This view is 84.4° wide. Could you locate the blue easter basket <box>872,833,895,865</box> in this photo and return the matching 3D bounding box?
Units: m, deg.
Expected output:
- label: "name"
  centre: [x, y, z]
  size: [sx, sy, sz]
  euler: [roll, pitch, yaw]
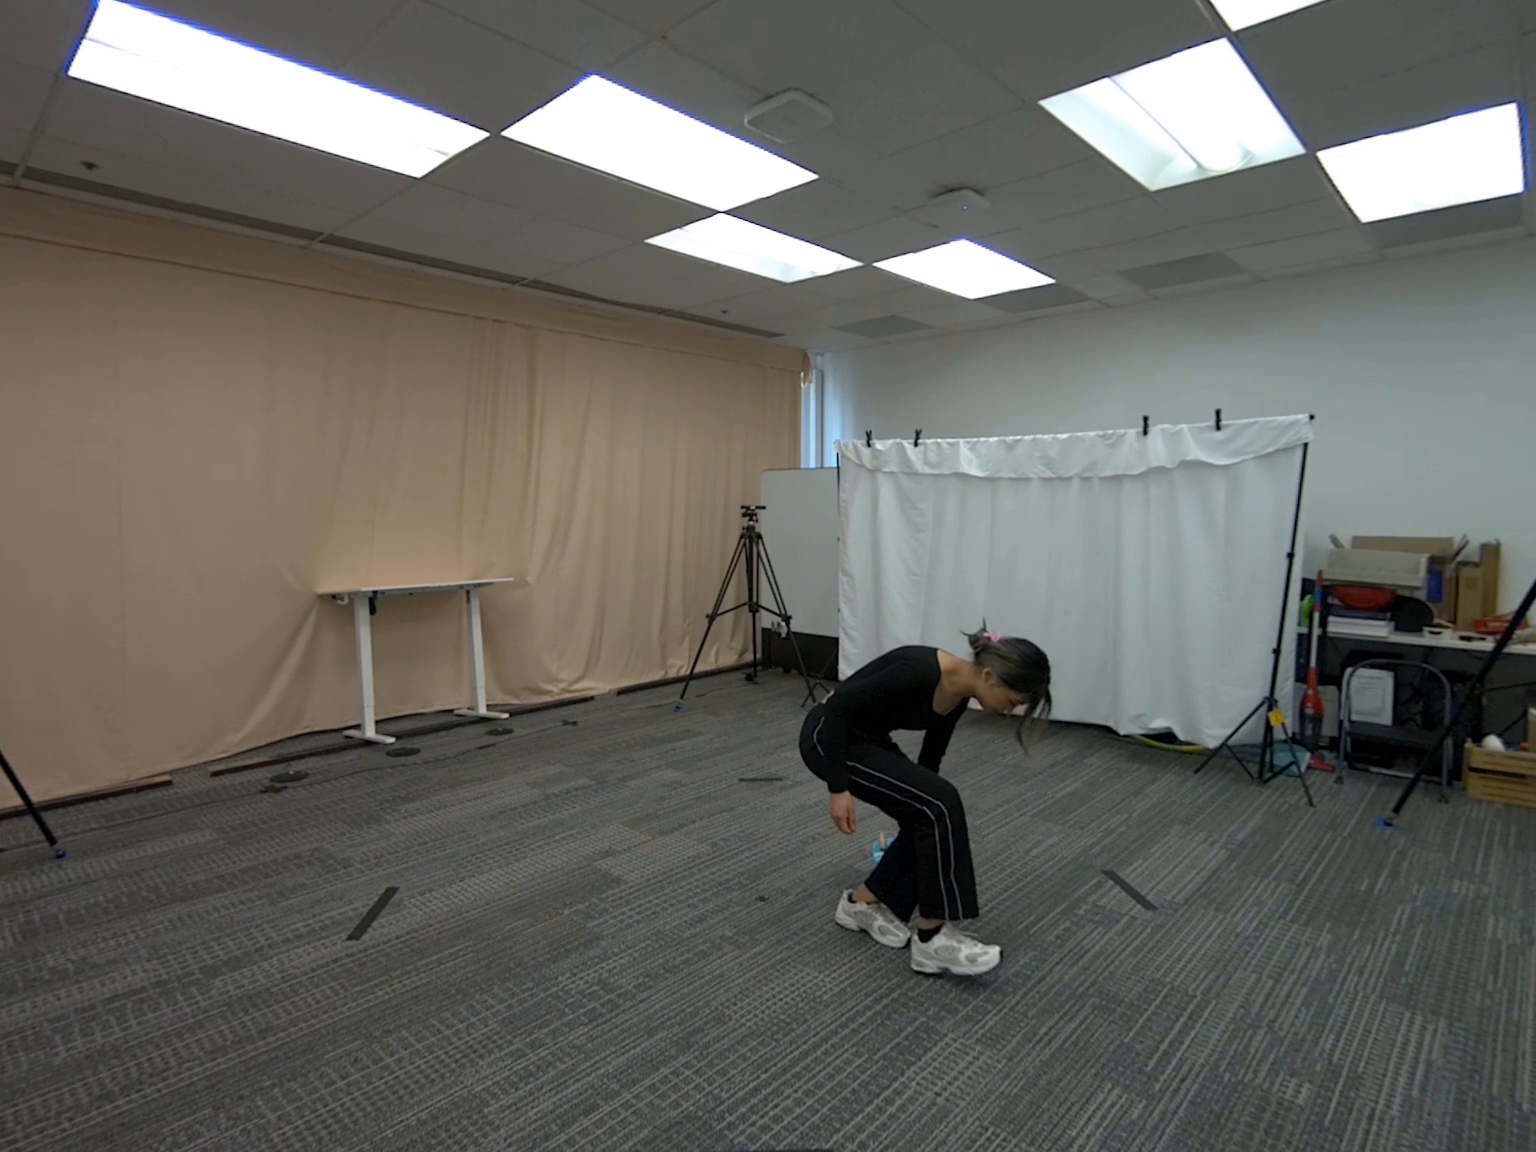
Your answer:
- label: "blue easter basket"
  centre: [0.477, 1.034, 3.007]
  size: [0.158, 0.243, 0.240]
  euler: [-9, 1, 15]
